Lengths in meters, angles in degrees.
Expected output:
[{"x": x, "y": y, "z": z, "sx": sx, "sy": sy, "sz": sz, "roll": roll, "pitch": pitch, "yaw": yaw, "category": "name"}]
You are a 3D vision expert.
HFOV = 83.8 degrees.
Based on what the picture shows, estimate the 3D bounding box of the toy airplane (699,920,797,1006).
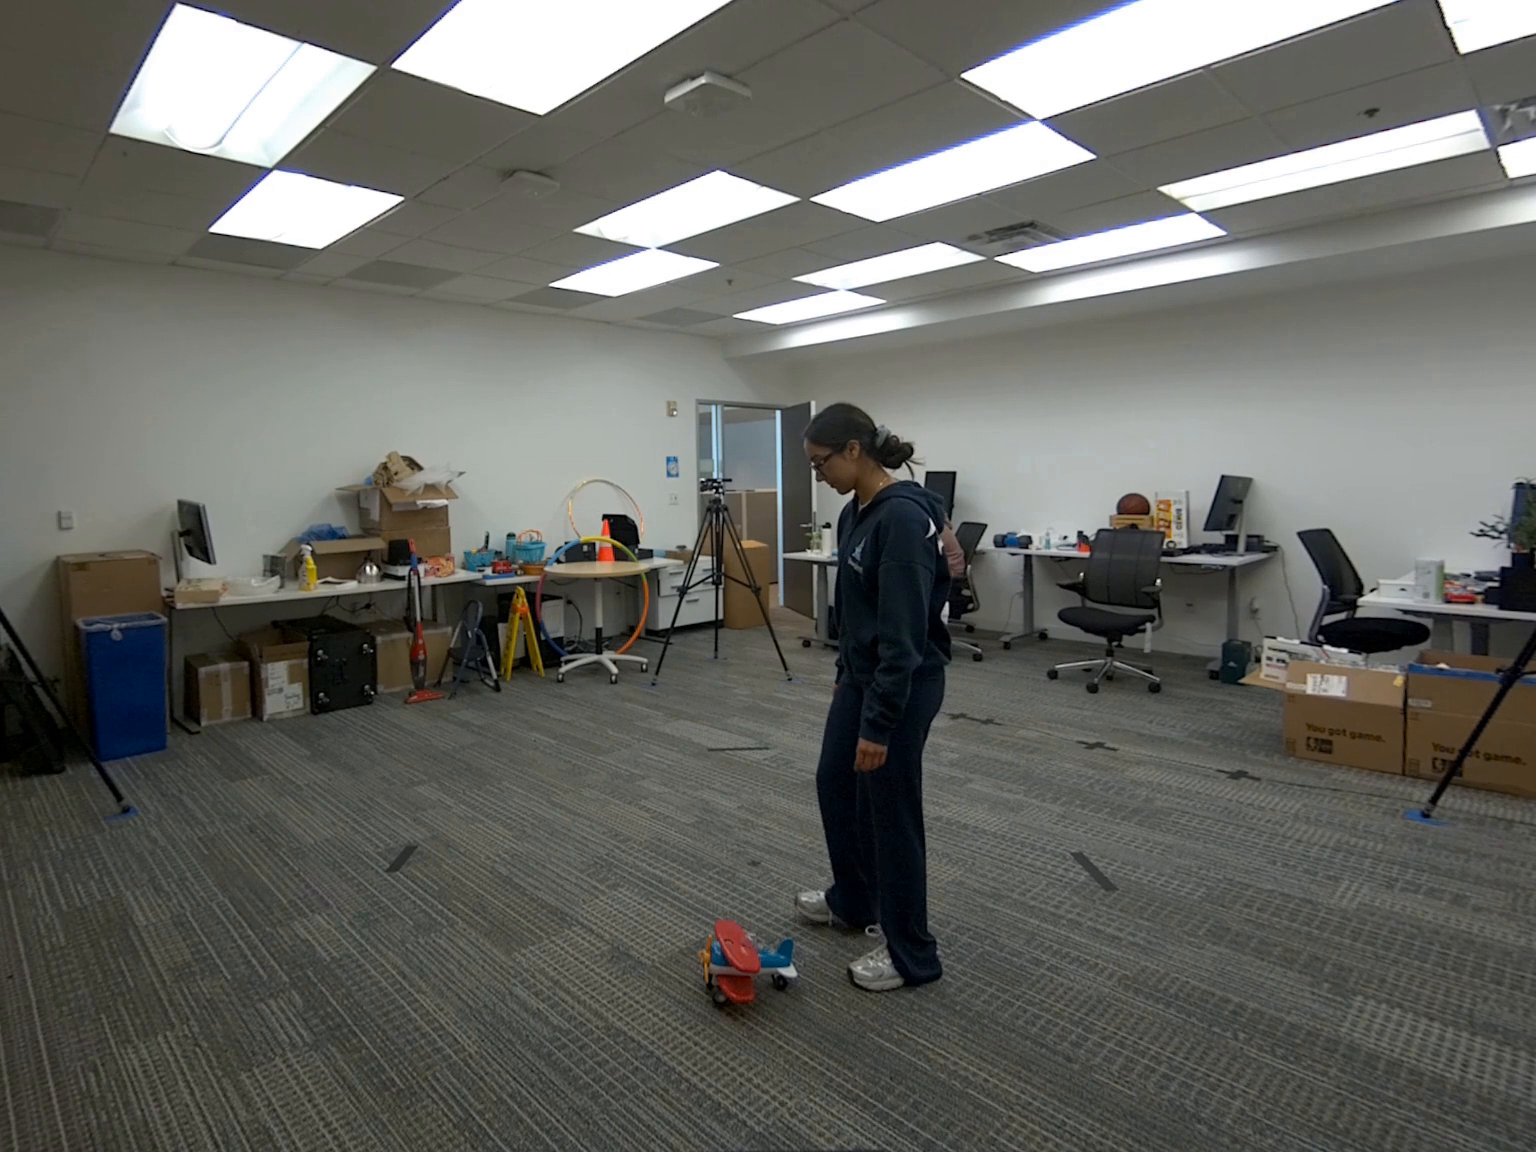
[{"x": -0.057, "y": 1.059, "z": 2.346, "sx": 0.253, "sy": 0.155, "sz": 0.259, "roll": -10, "pitch": 11, "yaw": -44, "category": "toy airplane"}]
